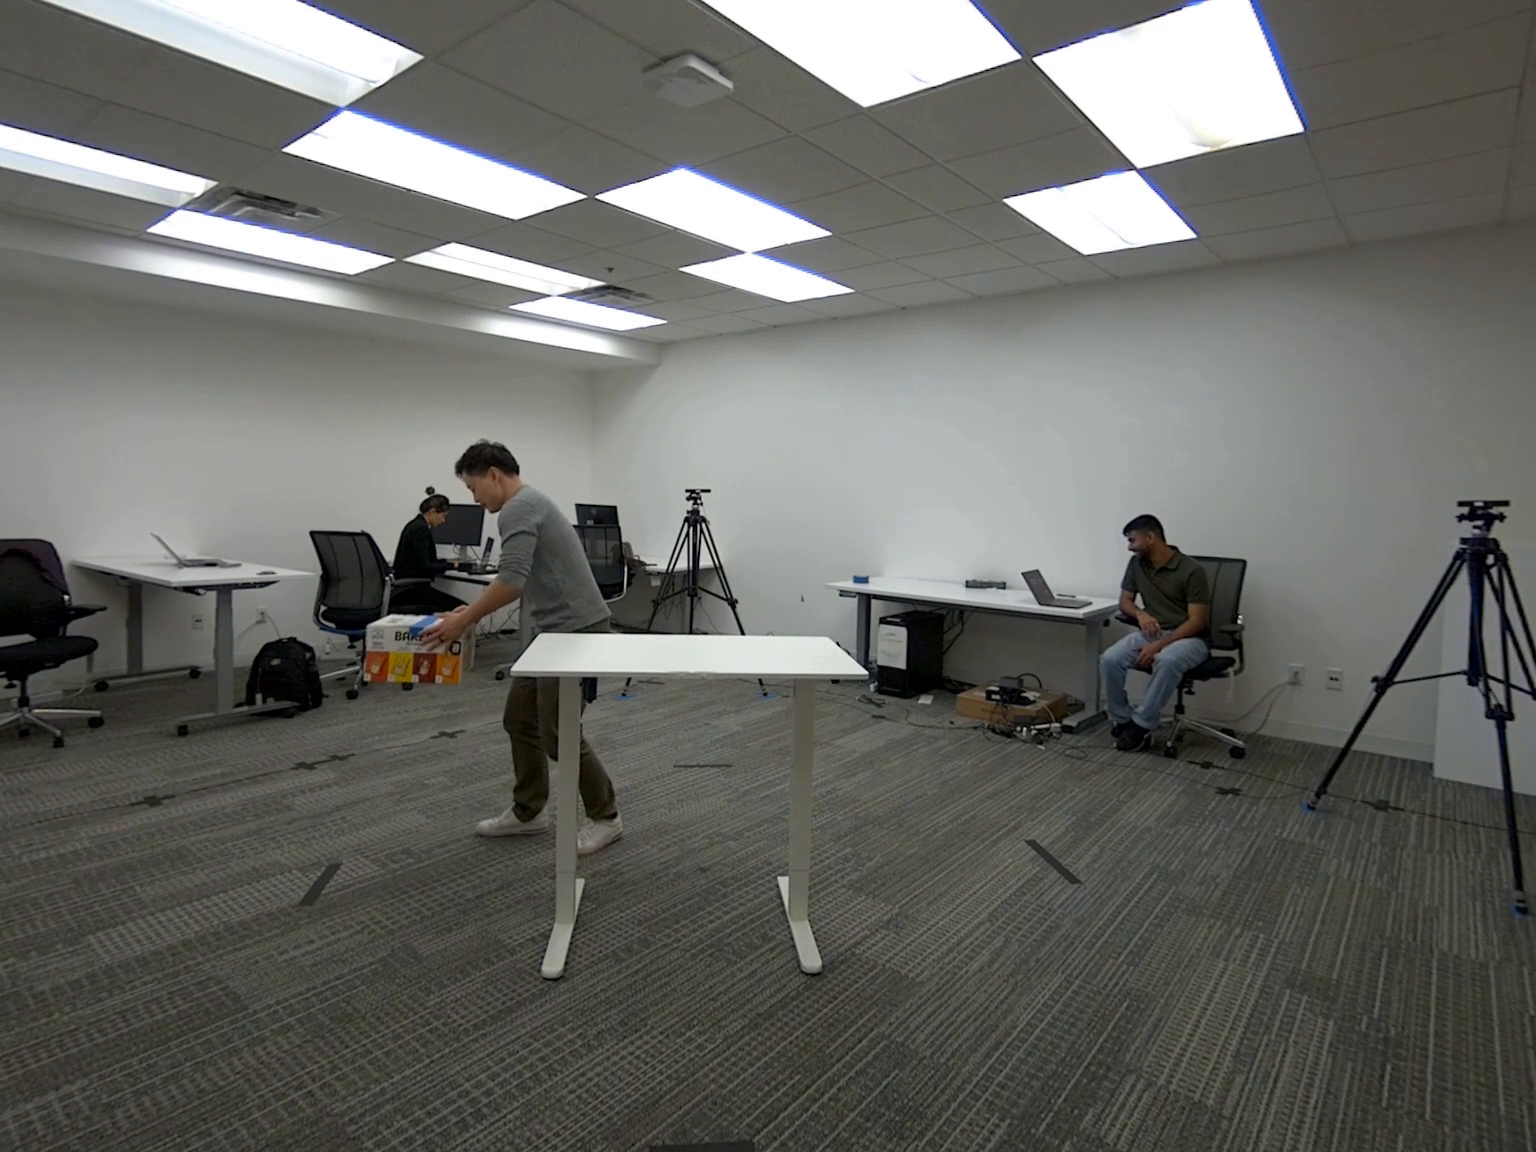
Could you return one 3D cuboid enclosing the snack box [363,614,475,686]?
[{"bbox_3d":[-1.345,0.285,3.296,0.336,0.205,0.410,3,3,-11],"label":"snack box"}]
